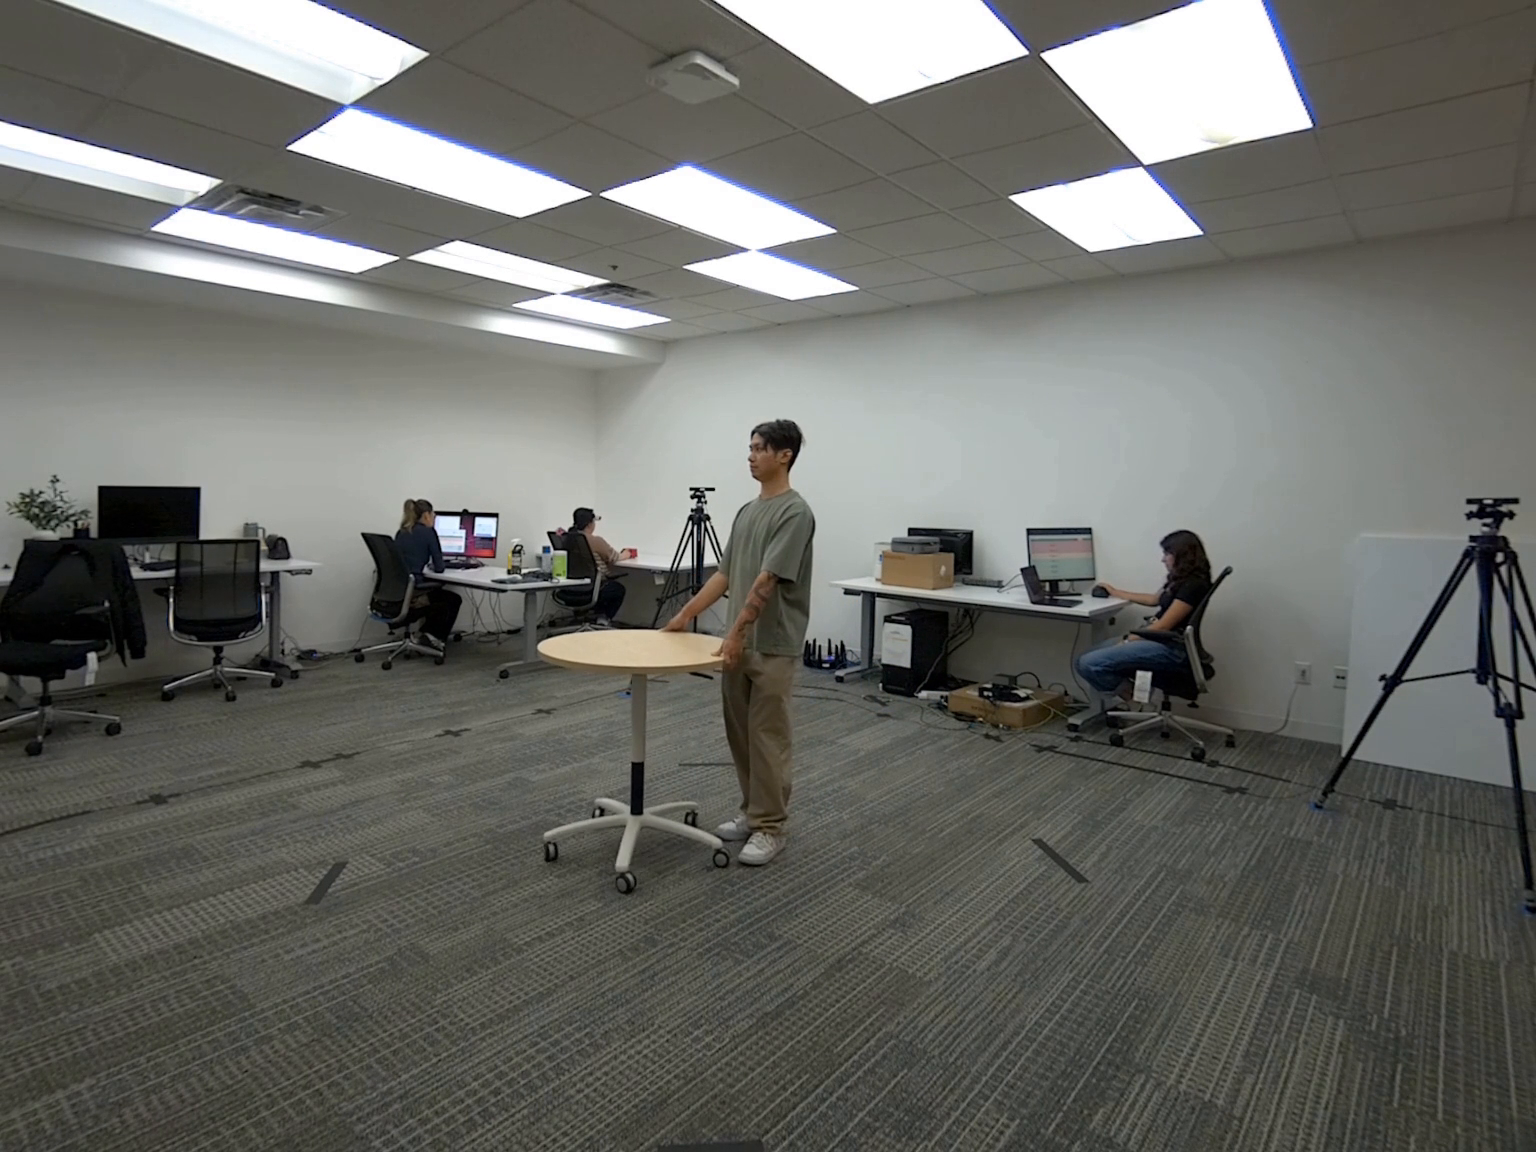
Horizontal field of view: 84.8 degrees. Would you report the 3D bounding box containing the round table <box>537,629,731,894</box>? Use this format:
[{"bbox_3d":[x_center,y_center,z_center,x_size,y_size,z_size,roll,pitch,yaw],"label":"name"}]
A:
[{"bbox_3d":[-0.522,0.653,3.241,0.784,0.784,0.789,1,4,-2],"label":"round table"}]
